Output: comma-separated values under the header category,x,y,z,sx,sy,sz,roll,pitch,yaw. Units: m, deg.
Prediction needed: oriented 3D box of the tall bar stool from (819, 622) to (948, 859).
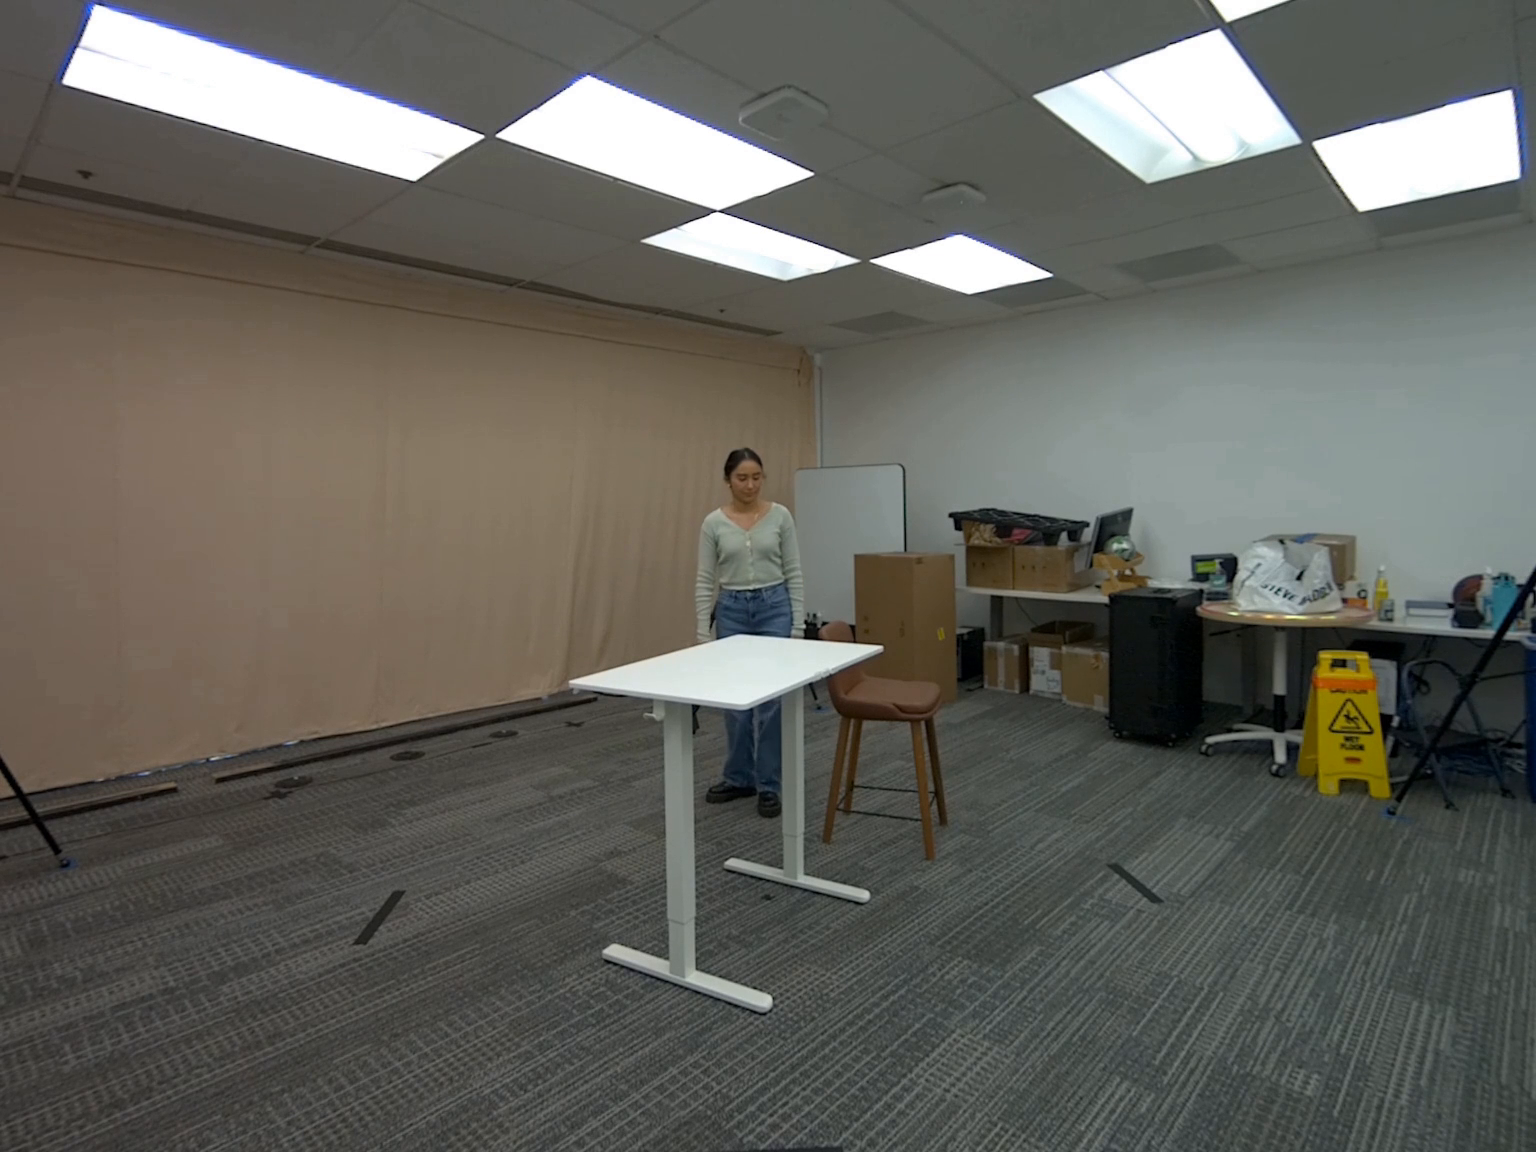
category,x,y,z,sx,sy,sz,roll,pitch,yaw
tall bar stool,0.488,0.649,3.518,0.478,0.888,0.447,-1,2,22
